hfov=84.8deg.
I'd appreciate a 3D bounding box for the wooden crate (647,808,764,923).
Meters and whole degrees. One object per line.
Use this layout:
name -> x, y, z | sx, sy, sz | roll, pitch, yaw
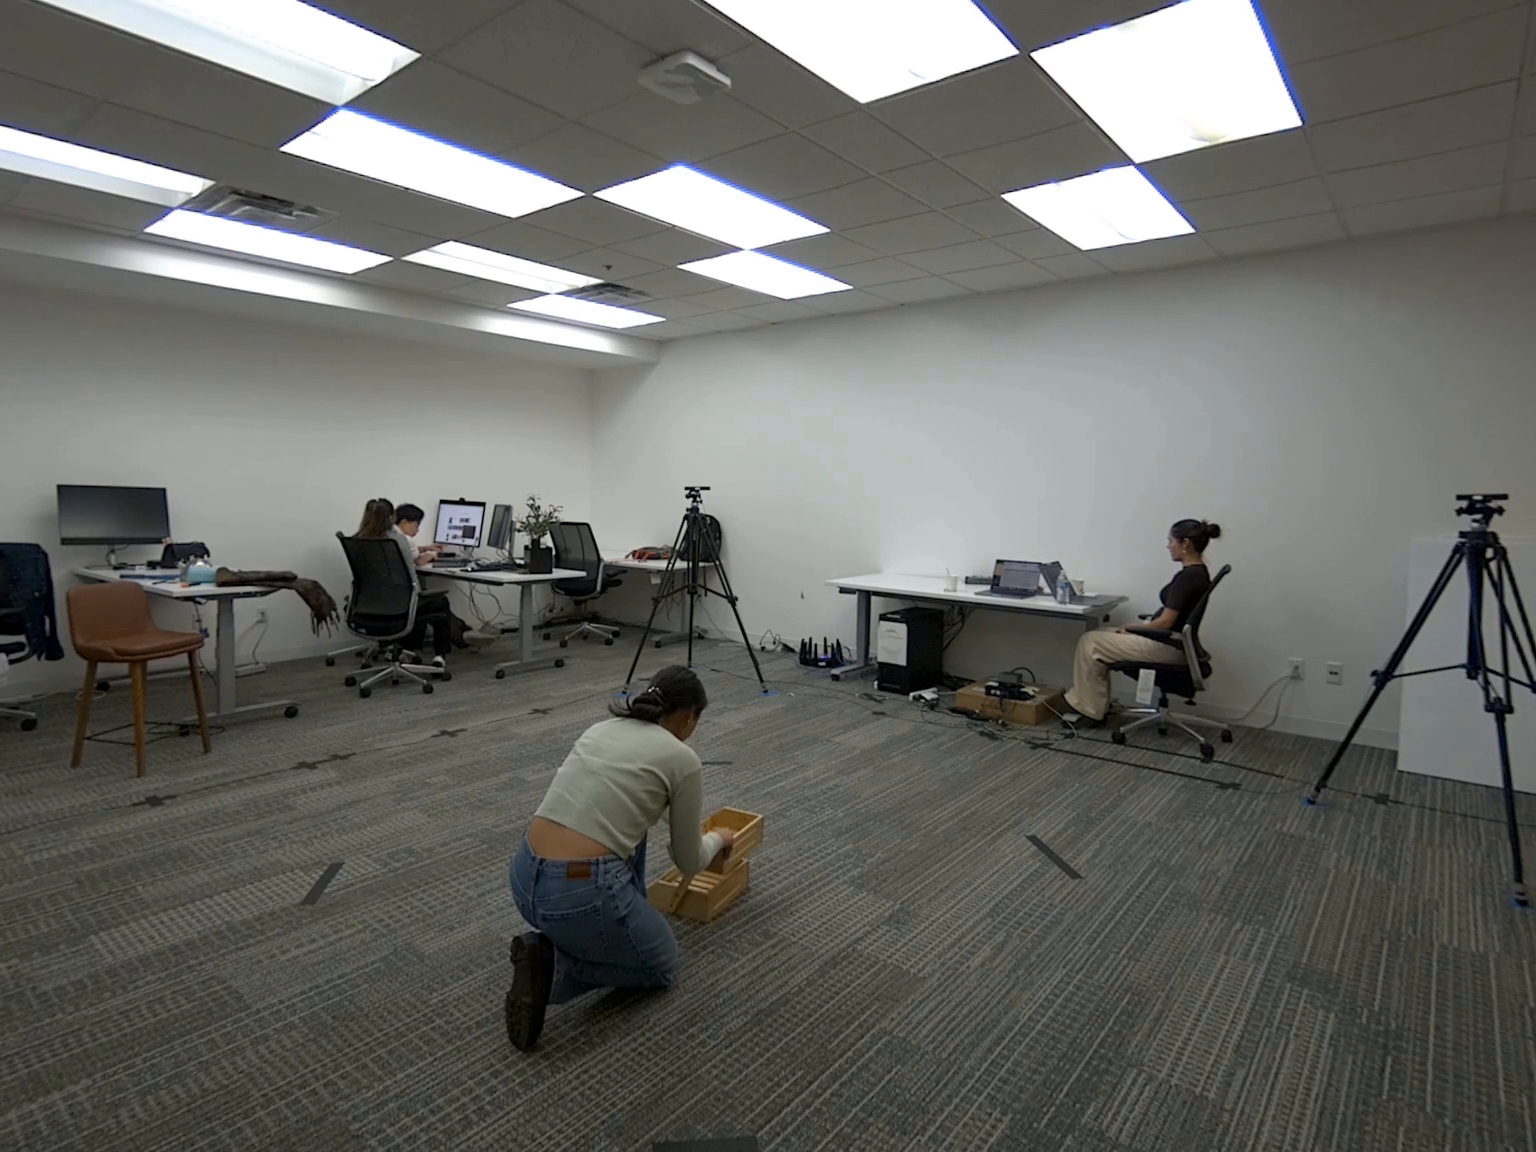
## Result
wooden crate -> -0.228, 0.950, 2.879 | 0.310, 0.272, 0.317 | 4, 5, 26
